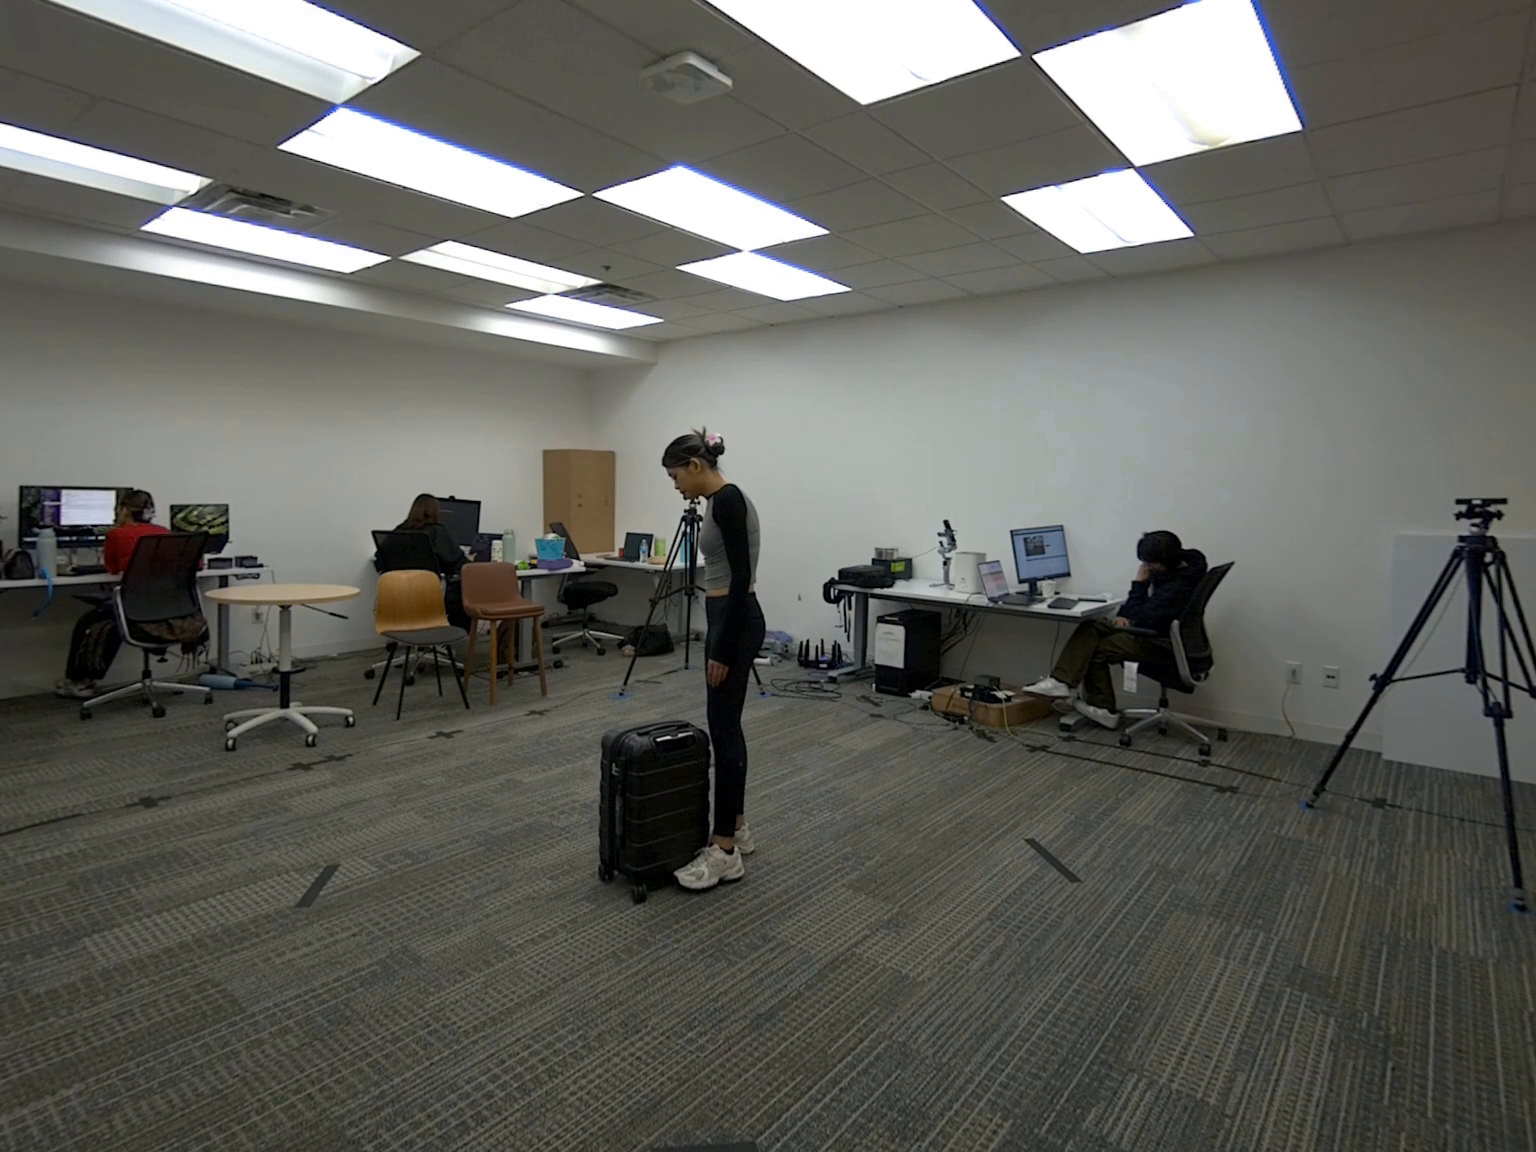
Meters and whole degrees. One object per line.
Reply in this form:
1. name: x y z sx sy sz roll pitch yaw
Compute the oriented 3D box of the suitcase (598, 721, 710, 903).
1. suitcase: -0.419 0.798 3.035 0.364 0.548 0.256 -2 2 -41
